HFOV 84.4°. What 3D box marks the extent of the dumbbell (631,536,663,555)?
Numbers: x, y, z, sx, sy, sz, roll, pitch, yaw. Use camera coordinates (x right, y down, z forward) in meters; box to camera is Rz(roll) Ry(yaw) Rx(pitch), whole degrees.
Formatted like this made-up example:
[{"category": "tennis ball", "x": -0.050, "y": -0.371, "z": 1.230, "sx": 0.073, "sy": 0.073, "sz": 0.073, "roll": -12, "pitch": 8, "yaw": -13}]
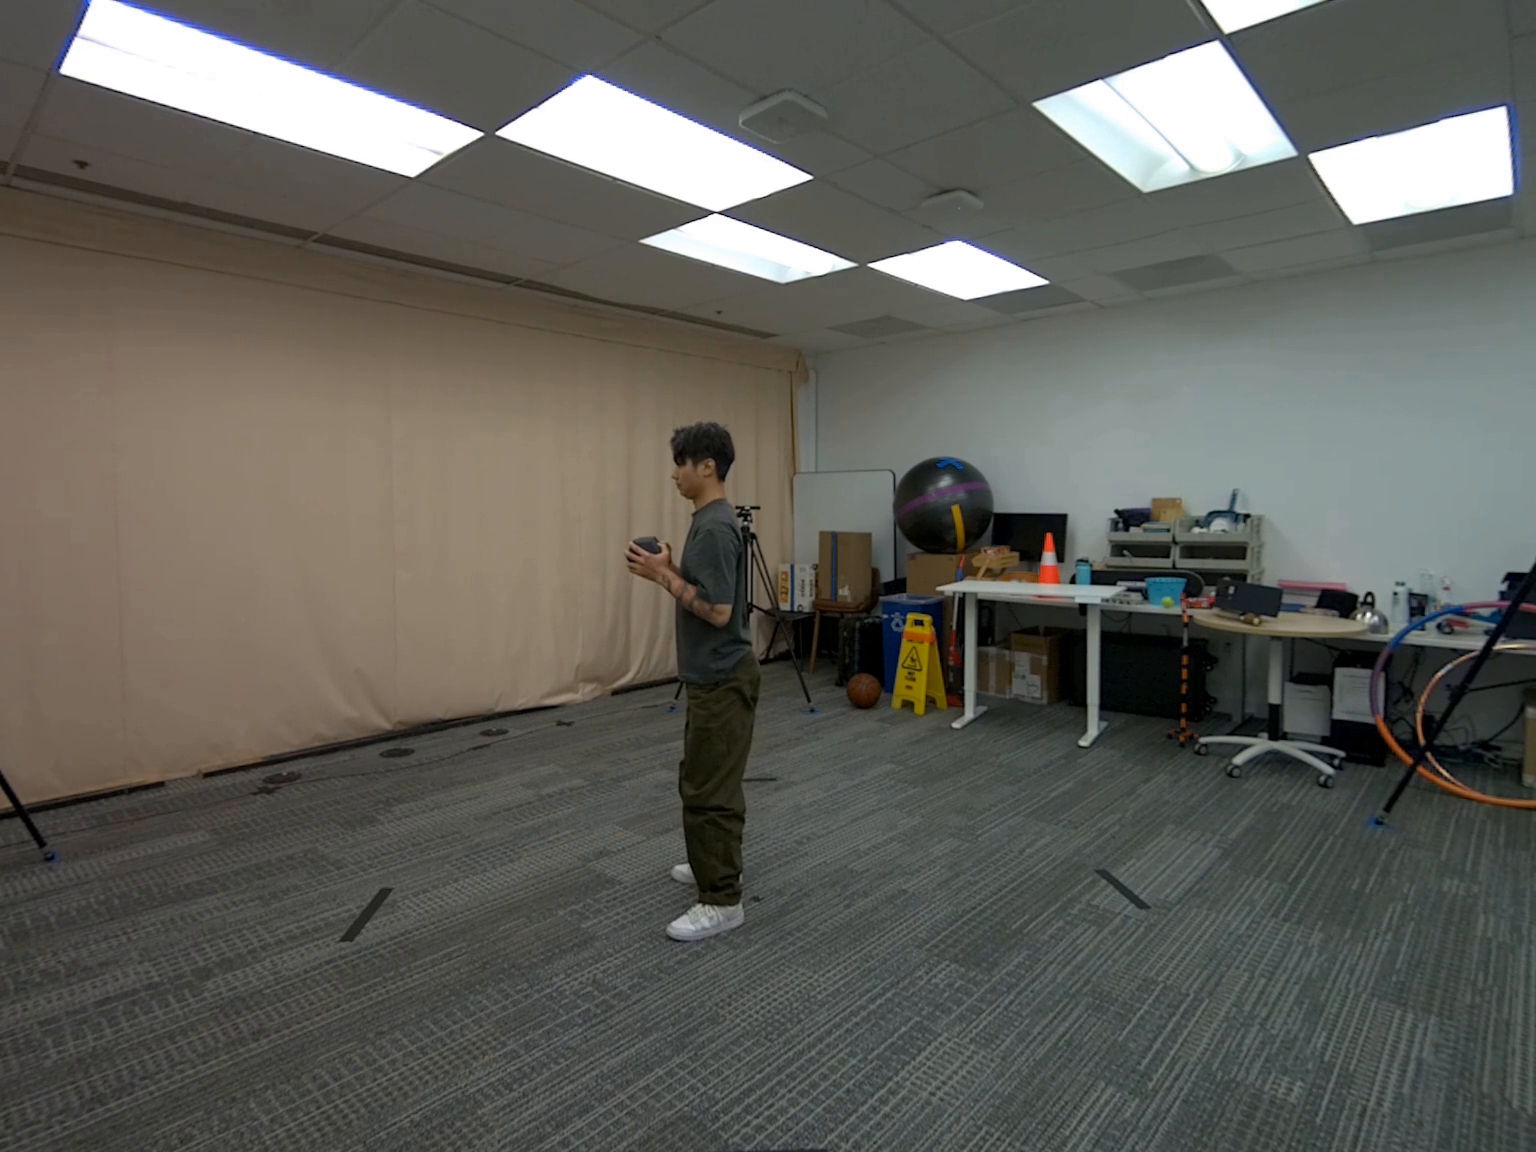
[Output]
[{"category": "dumbbell", "x": -0.405, "y": -0.068, "z": 2.891, "sx": 0.108, "sy": 0.122, "sz": 0.295, "roll": -35, "pitch": 4, "yaw": -4}]
